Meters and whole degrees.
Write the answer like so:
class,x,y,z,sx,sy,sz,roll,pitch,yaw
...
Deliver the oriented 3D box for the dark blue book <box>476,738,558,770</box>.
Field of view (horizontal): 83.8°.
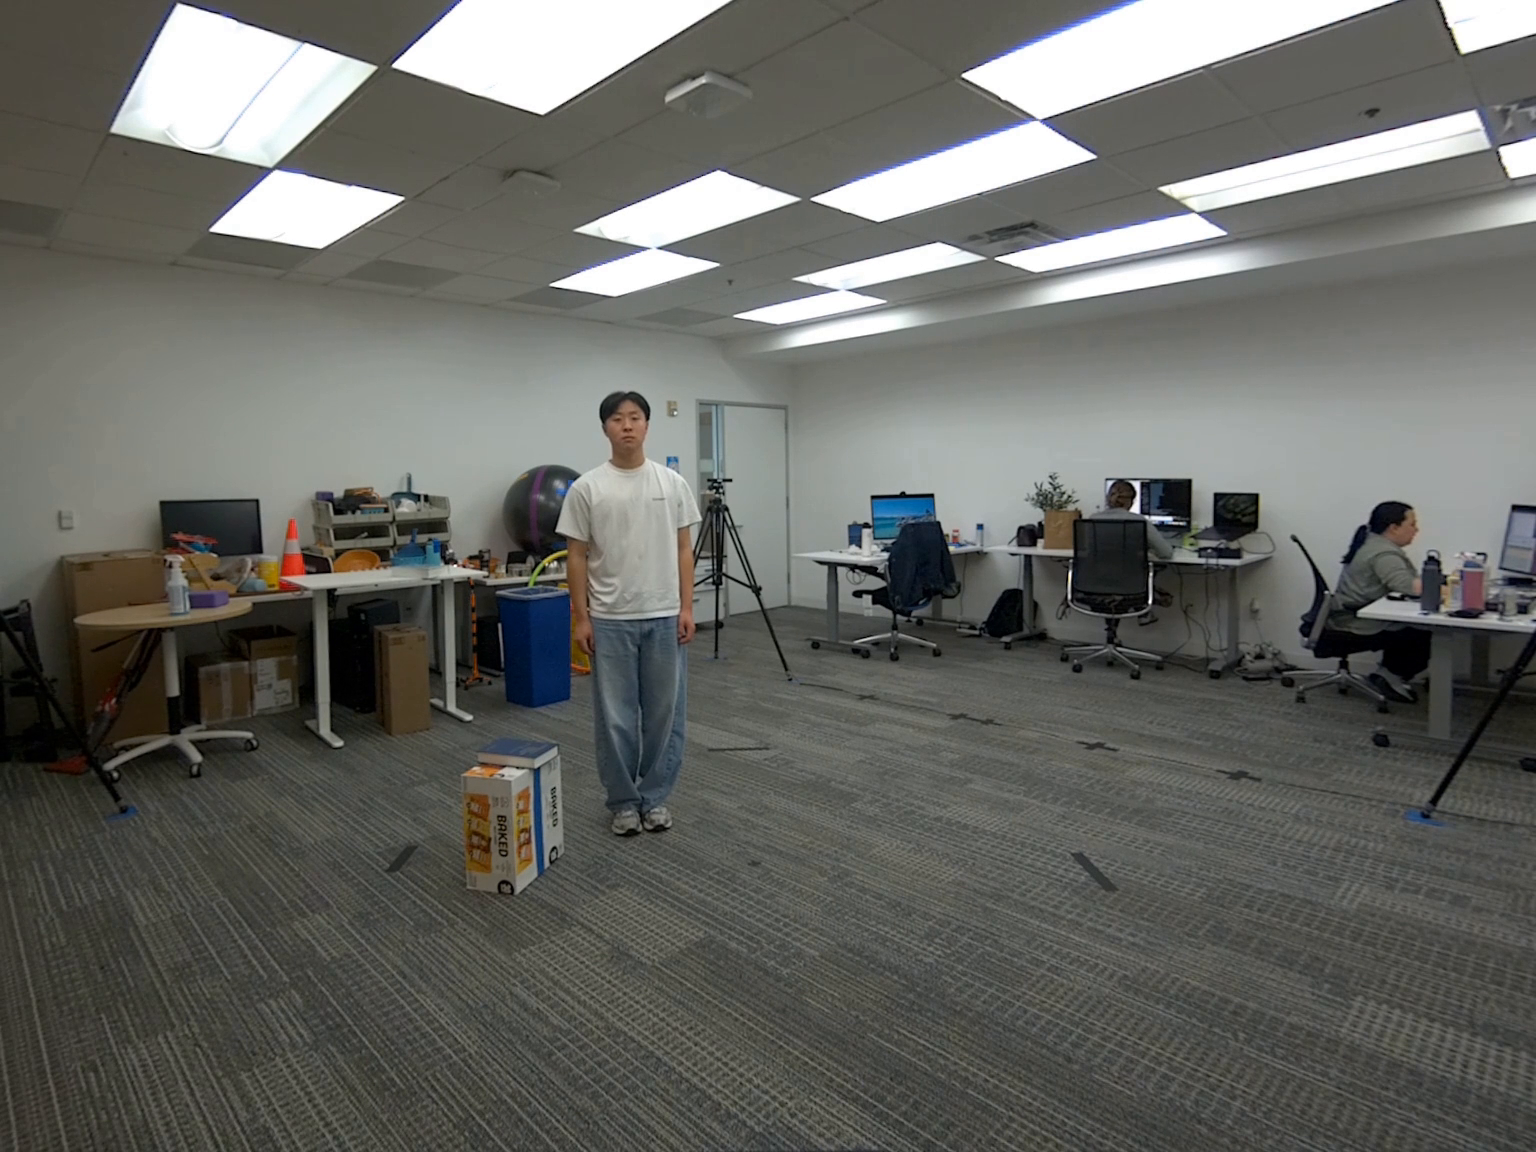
class,x,y,z,sx,sy,sz,roll,pitch,yaw
dark blue book,-0.900,0.637,3.084,0.249,0.045,0.161,1,7,18
